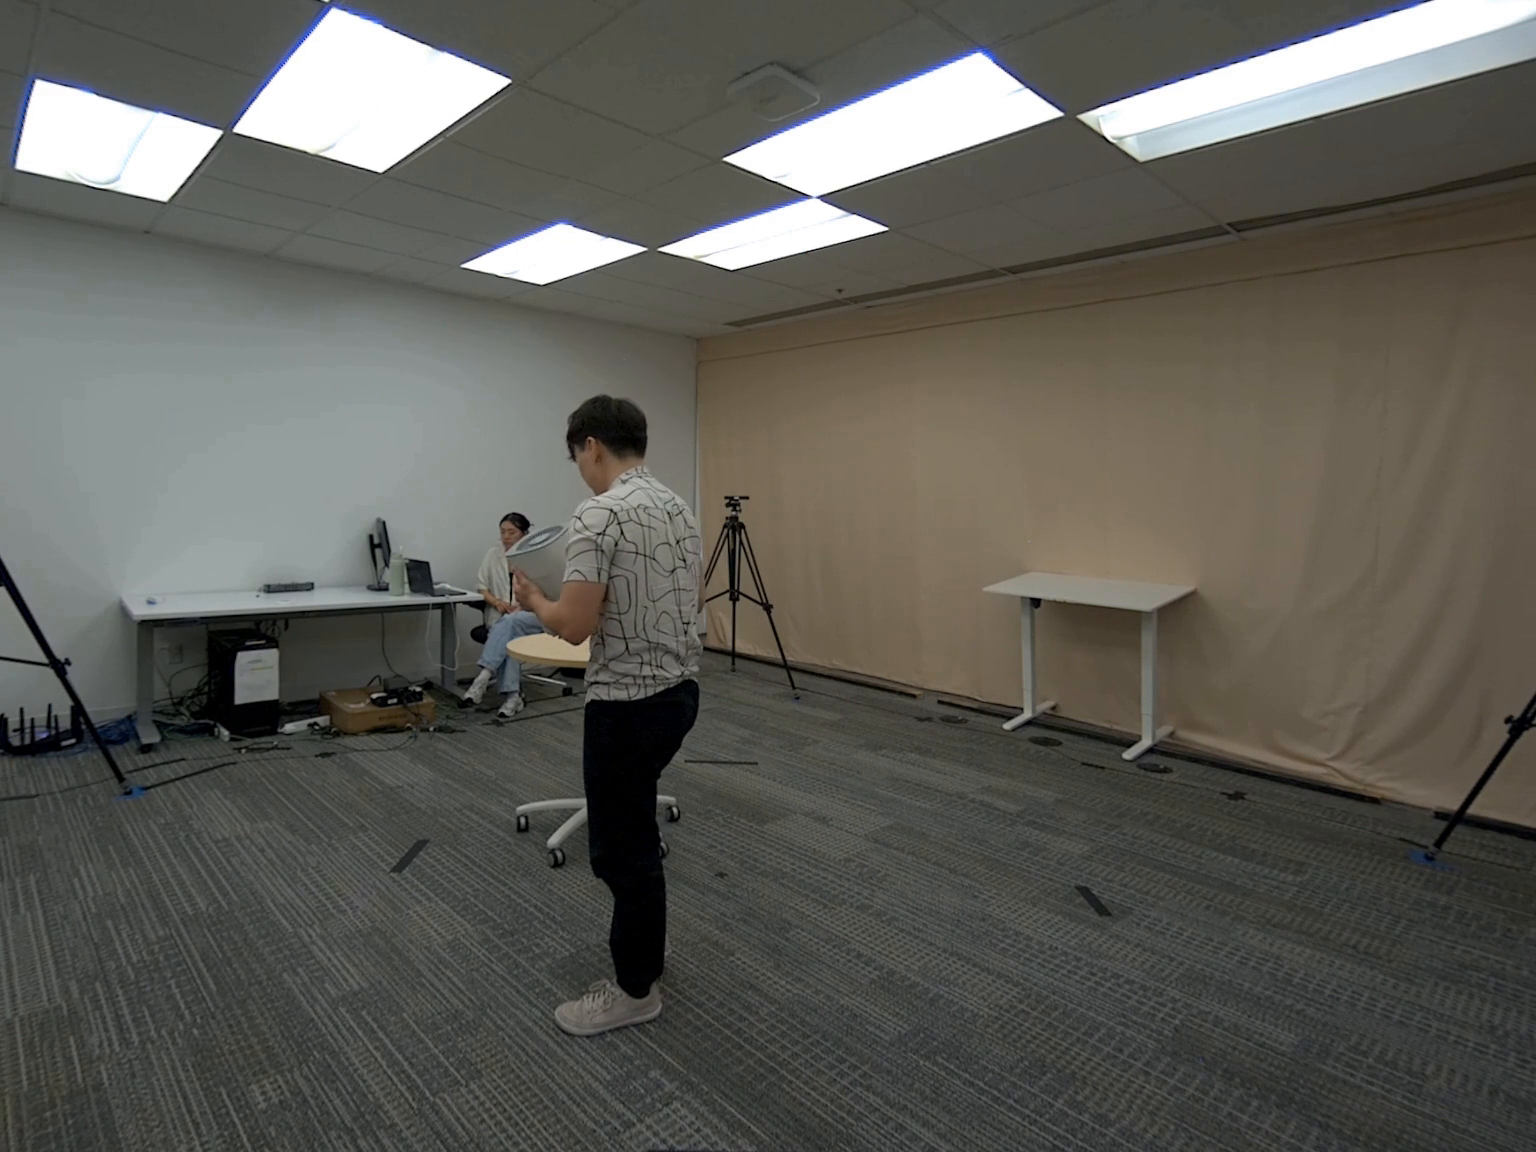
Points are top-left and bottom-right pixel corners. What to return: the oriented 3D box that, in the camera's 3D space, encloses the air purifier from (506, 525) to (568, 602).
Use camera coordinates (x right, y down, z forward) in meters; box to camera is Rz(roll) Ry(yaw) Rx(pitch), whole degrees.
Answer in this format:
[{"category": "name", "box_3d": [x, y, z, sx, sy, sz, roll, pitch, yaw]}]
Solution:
[{"category": "air purifier", "box_3d": [-0.563, 0.012, 2.311, 0.174, 0.260, 0.172, -13, 22, 22]}]
